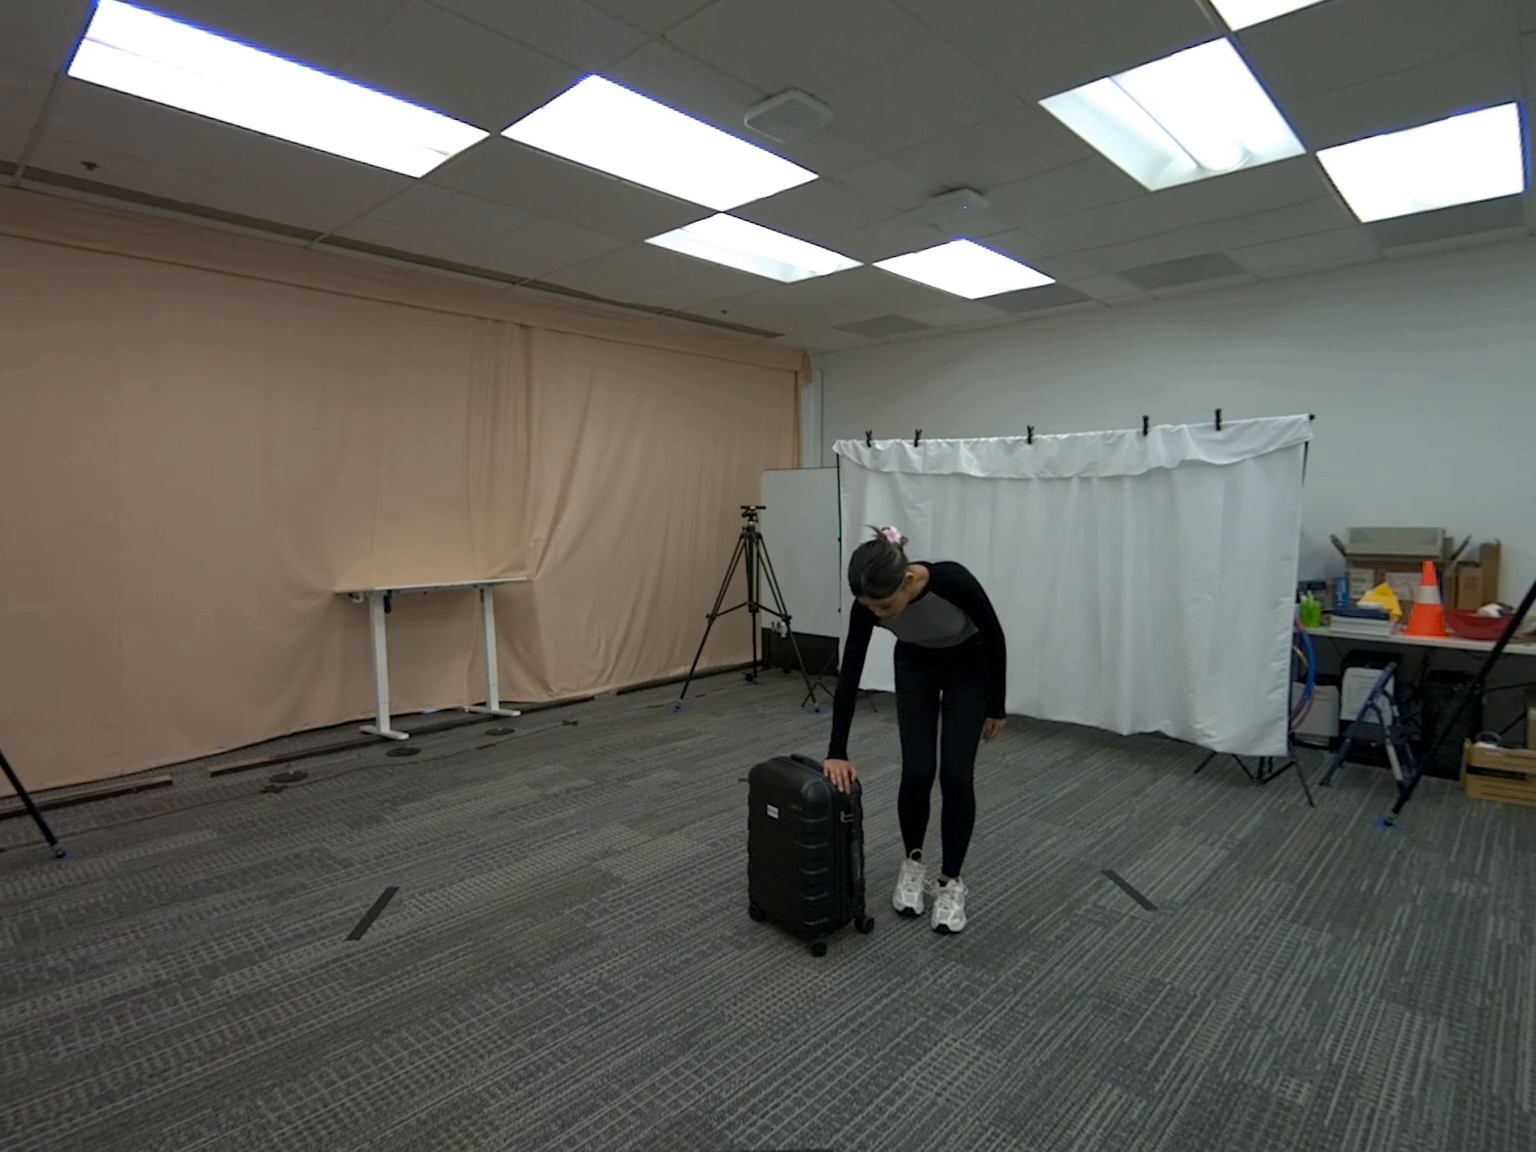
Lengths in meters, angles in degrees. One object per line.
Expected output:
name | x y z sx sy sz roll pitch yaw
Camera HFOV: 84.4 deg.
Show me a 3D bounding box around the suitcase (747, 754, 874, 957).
suitcase | 0.129 0.886 2.775 0.241 0.547 0.388 -6 7 -37
